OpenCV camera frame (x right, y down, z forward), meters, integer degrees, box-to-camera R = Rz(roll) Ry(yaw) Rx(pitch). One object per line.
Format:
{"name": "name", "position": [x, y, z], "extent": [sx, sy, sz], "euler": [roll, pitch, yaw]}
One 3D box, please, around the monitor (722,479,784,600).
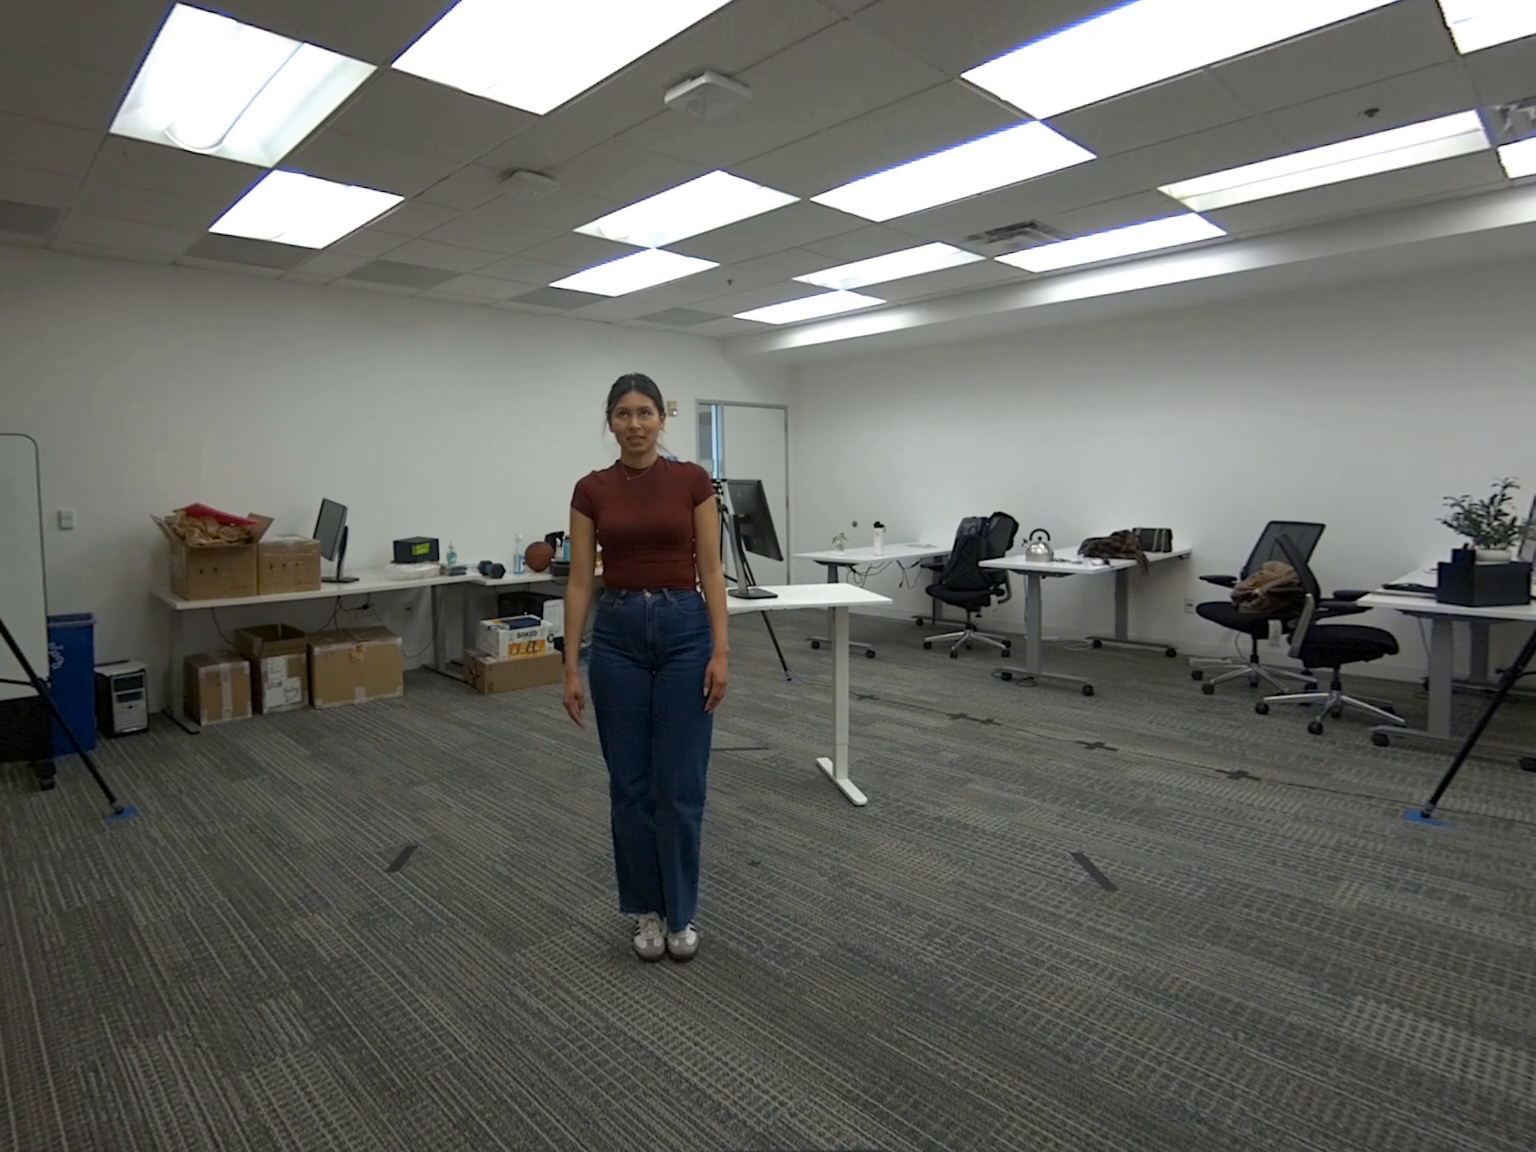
{"name": "monitor", "position": [-0.095, -0.168, 3.785], "extent": [0.184, 0.520, 0.550], "euler": [-4, 7, -18]}
